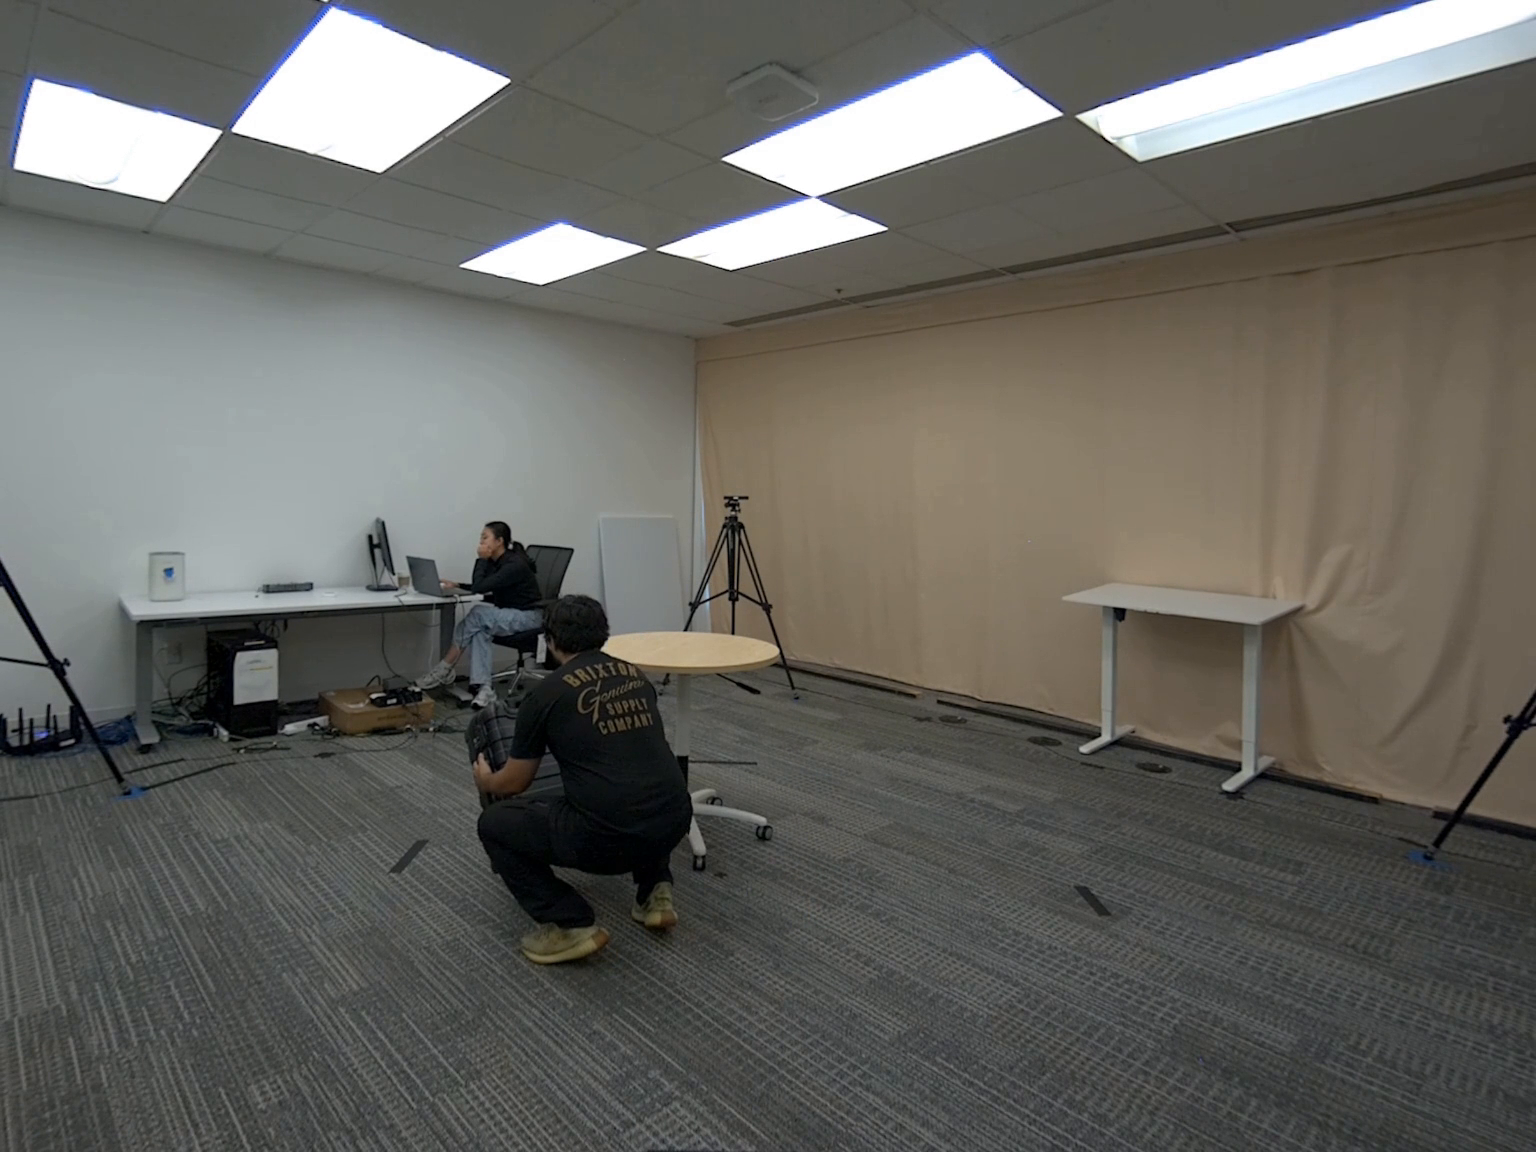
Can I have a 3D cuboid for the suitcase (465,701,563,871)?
[{"bbox_3d":[-0.858,0.715,3.004,0.367,0.561,0.249,-2,-30,-43],"label":"suitcase"}]
